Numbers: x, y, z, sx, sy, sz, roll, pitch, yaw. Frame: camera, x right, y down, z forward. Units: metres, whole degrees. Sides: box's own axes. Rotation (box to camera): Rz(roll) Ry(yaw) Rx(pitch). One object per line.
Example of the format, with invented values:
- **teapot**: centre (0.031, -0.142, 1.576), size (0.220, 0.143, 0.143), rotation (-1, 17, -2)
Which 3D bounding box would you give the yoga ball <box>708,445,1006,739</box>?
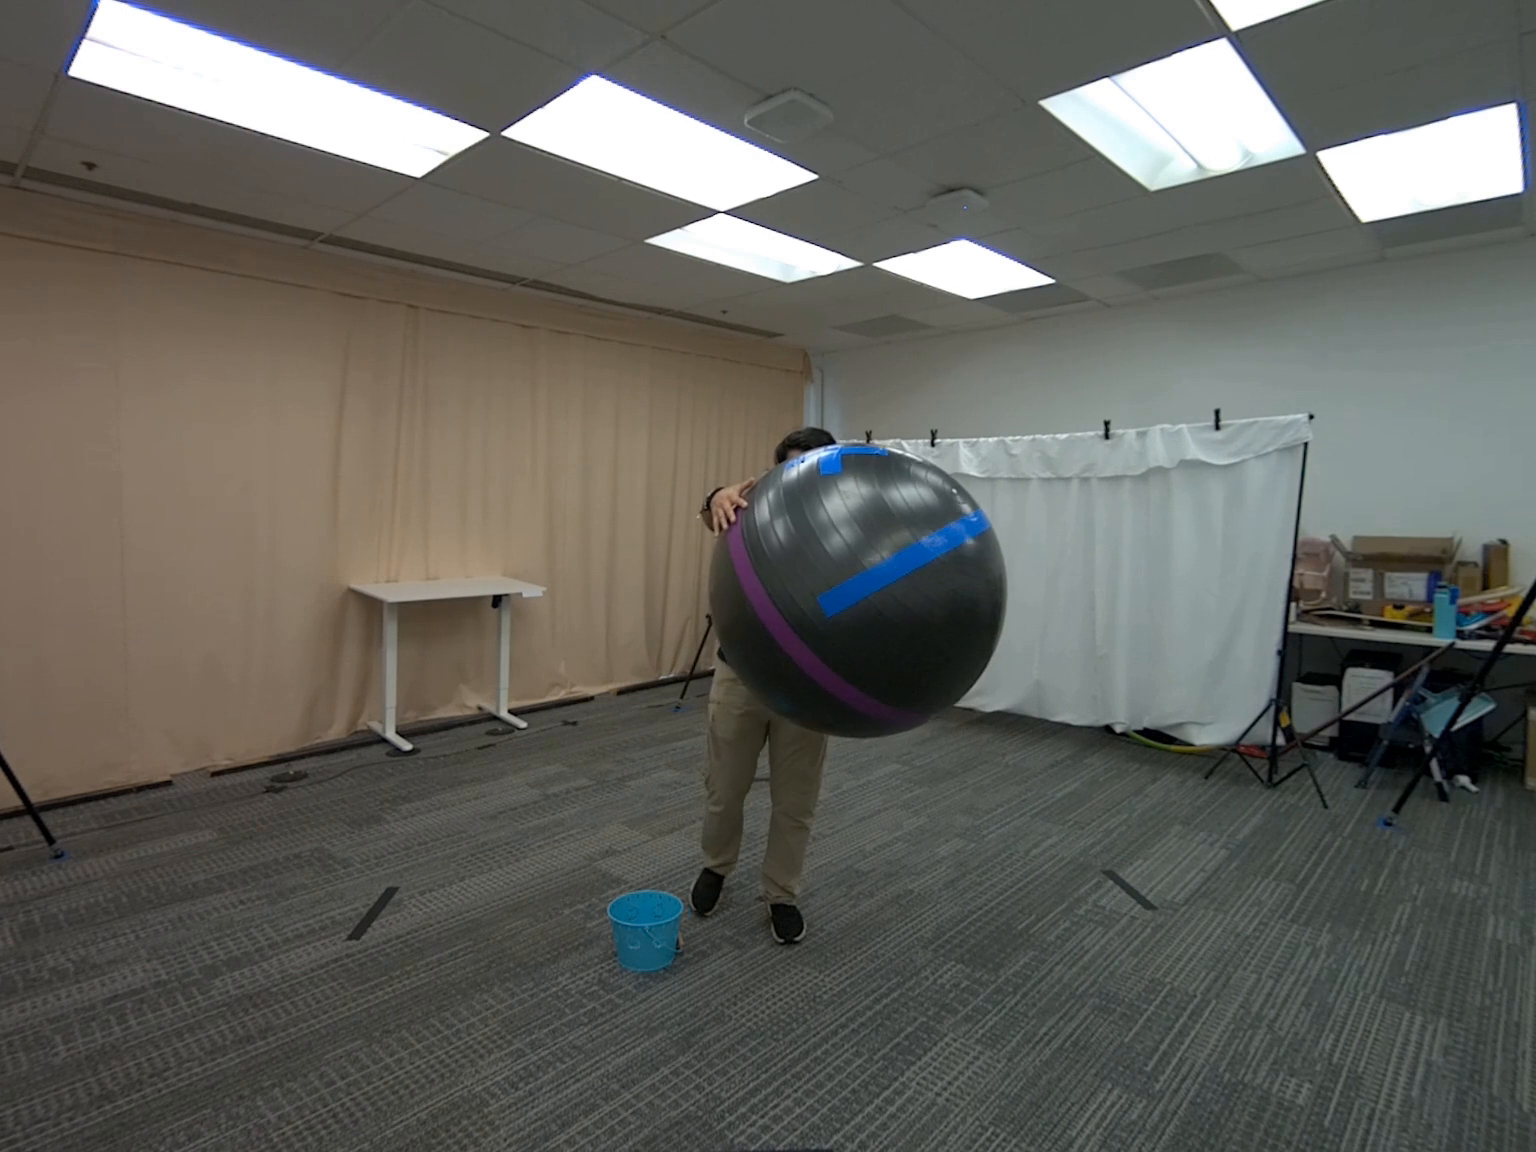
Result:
- **yoga ball**: centre (0.236, 0.042, 2.190), size (0.757, 0.756, 0.760), rotation (0, 4, -2)
